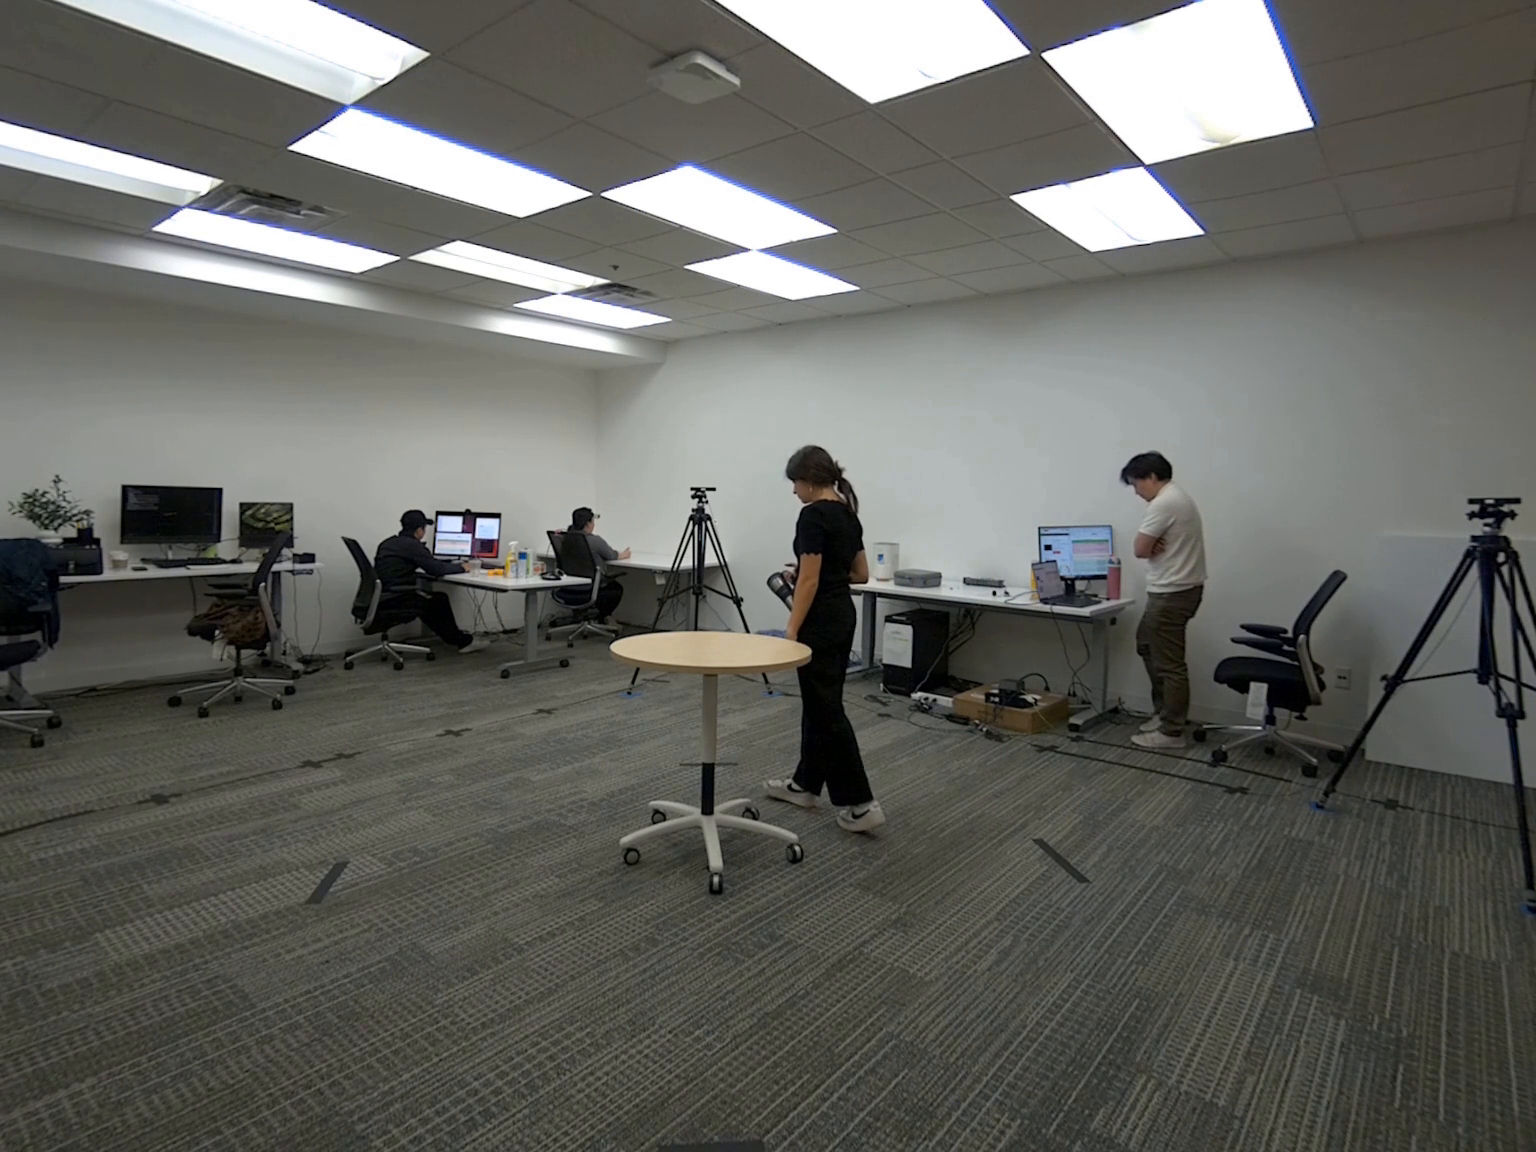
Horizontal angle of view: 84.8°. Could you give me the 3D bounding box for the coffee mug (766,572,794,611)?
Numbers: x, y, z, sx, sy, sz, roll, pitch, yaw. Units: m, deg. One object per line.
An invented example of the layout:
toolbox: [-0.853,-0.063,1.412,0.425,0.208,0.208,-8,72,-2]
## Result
coffee mug: [0.086,0.065,3.813,0.085,0.121,0.211,7,38,-49]
